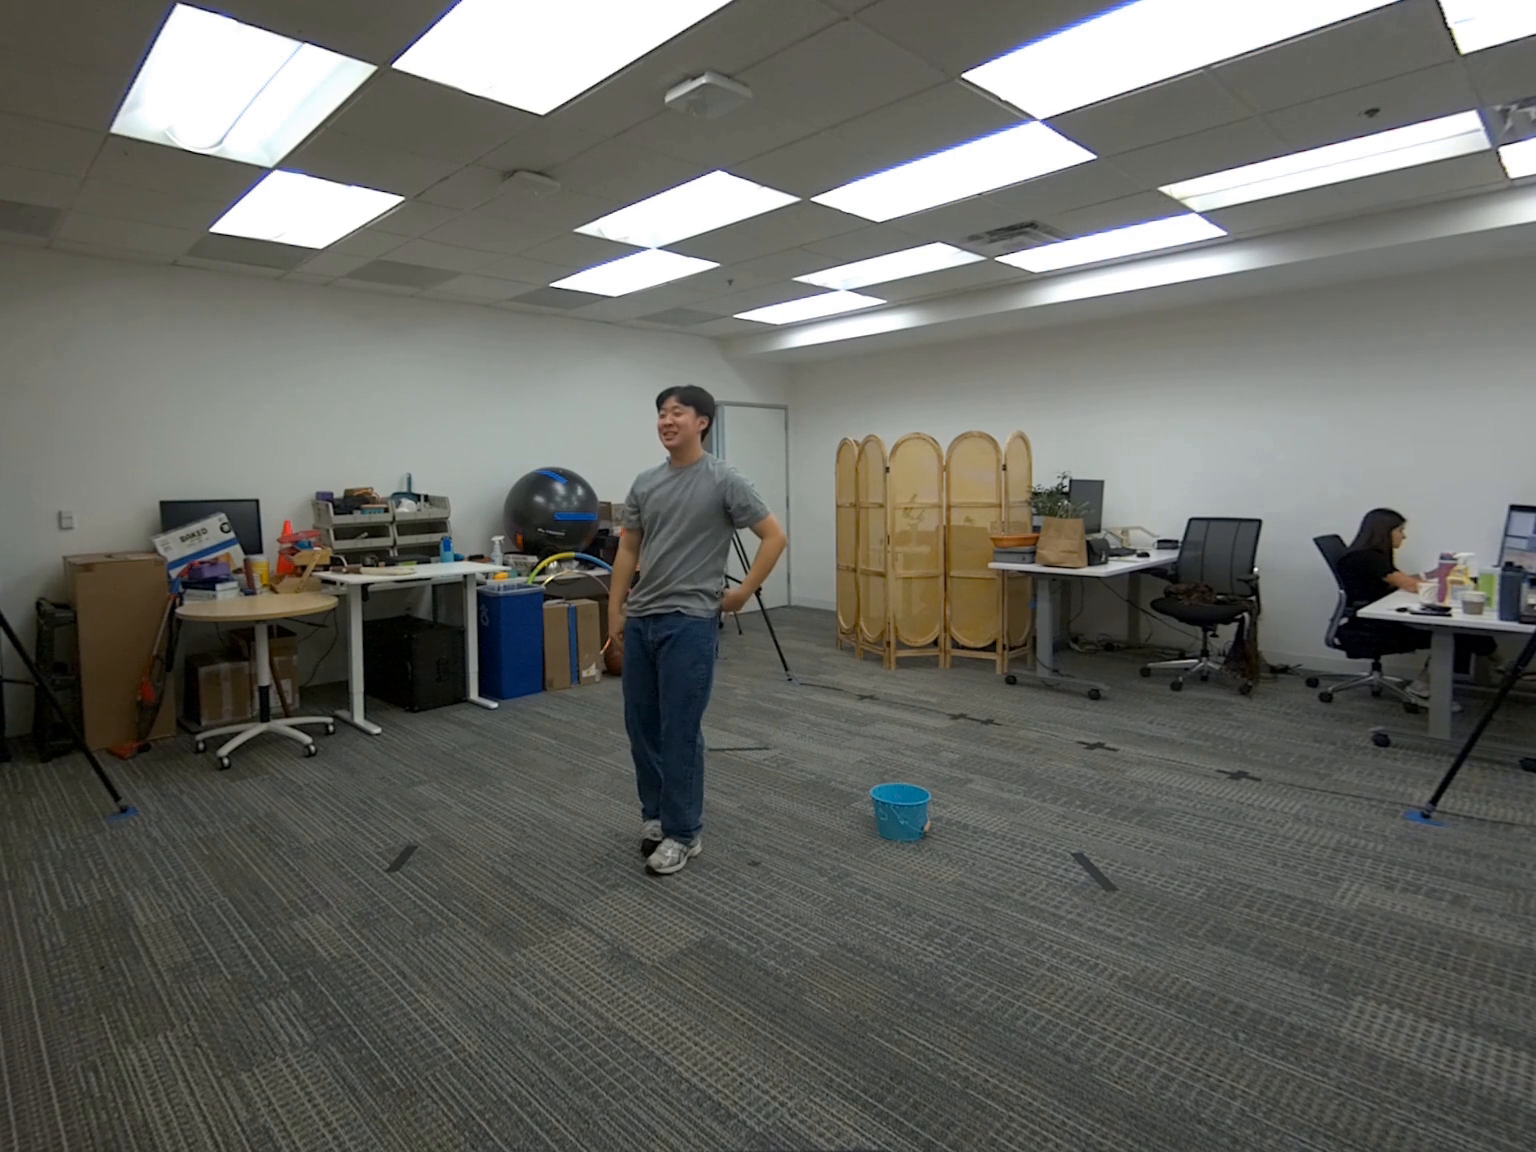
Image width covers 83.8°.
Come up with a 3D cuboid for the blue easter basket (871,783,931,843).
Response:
[{"bbox_3d":[0.530,0.929,3.364,0.243,0.155,0.245,-1,5,-2],"label":"blue easter basket"}]
